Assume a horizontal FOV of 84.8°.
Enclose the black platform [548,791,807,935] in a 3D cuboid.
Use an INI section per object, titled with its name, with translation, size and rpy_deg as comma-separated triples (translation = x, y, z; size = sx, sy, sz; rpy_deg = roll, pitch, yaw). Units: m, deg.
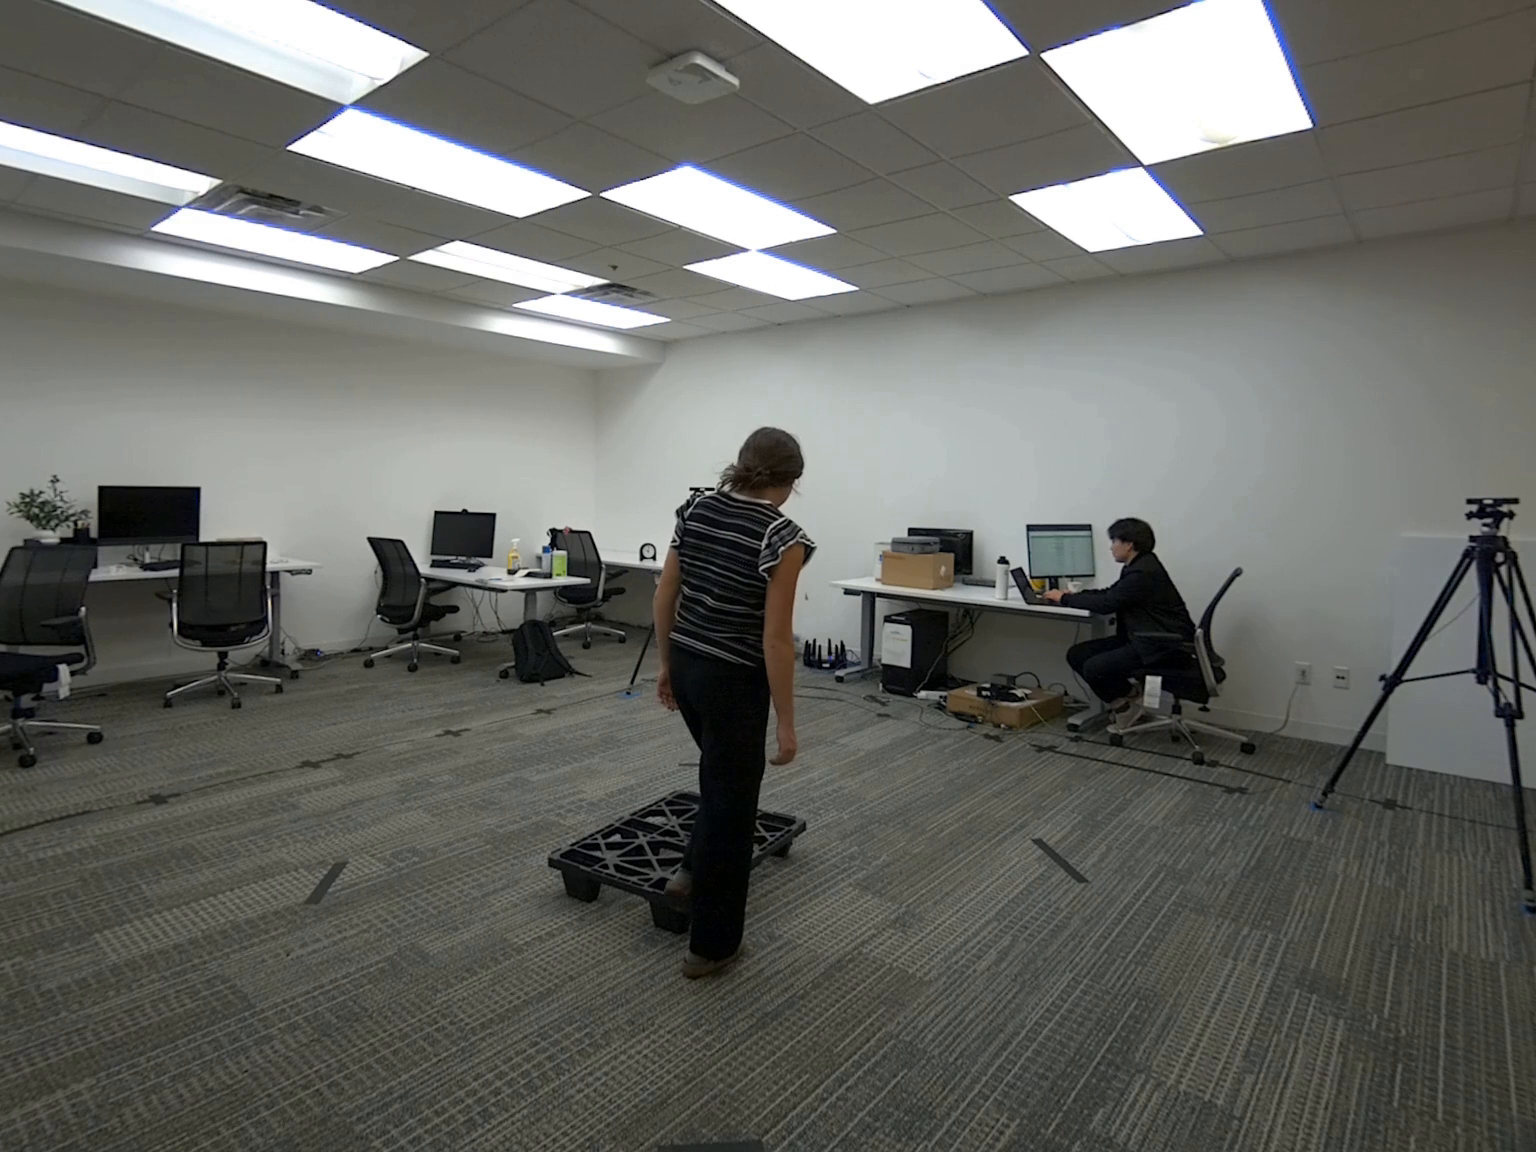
[black platform]
translation = -0.317, 1.002, 3.065
size = 0.623, 0.143, 0.785
rpy_deg = 3, 6, 30
